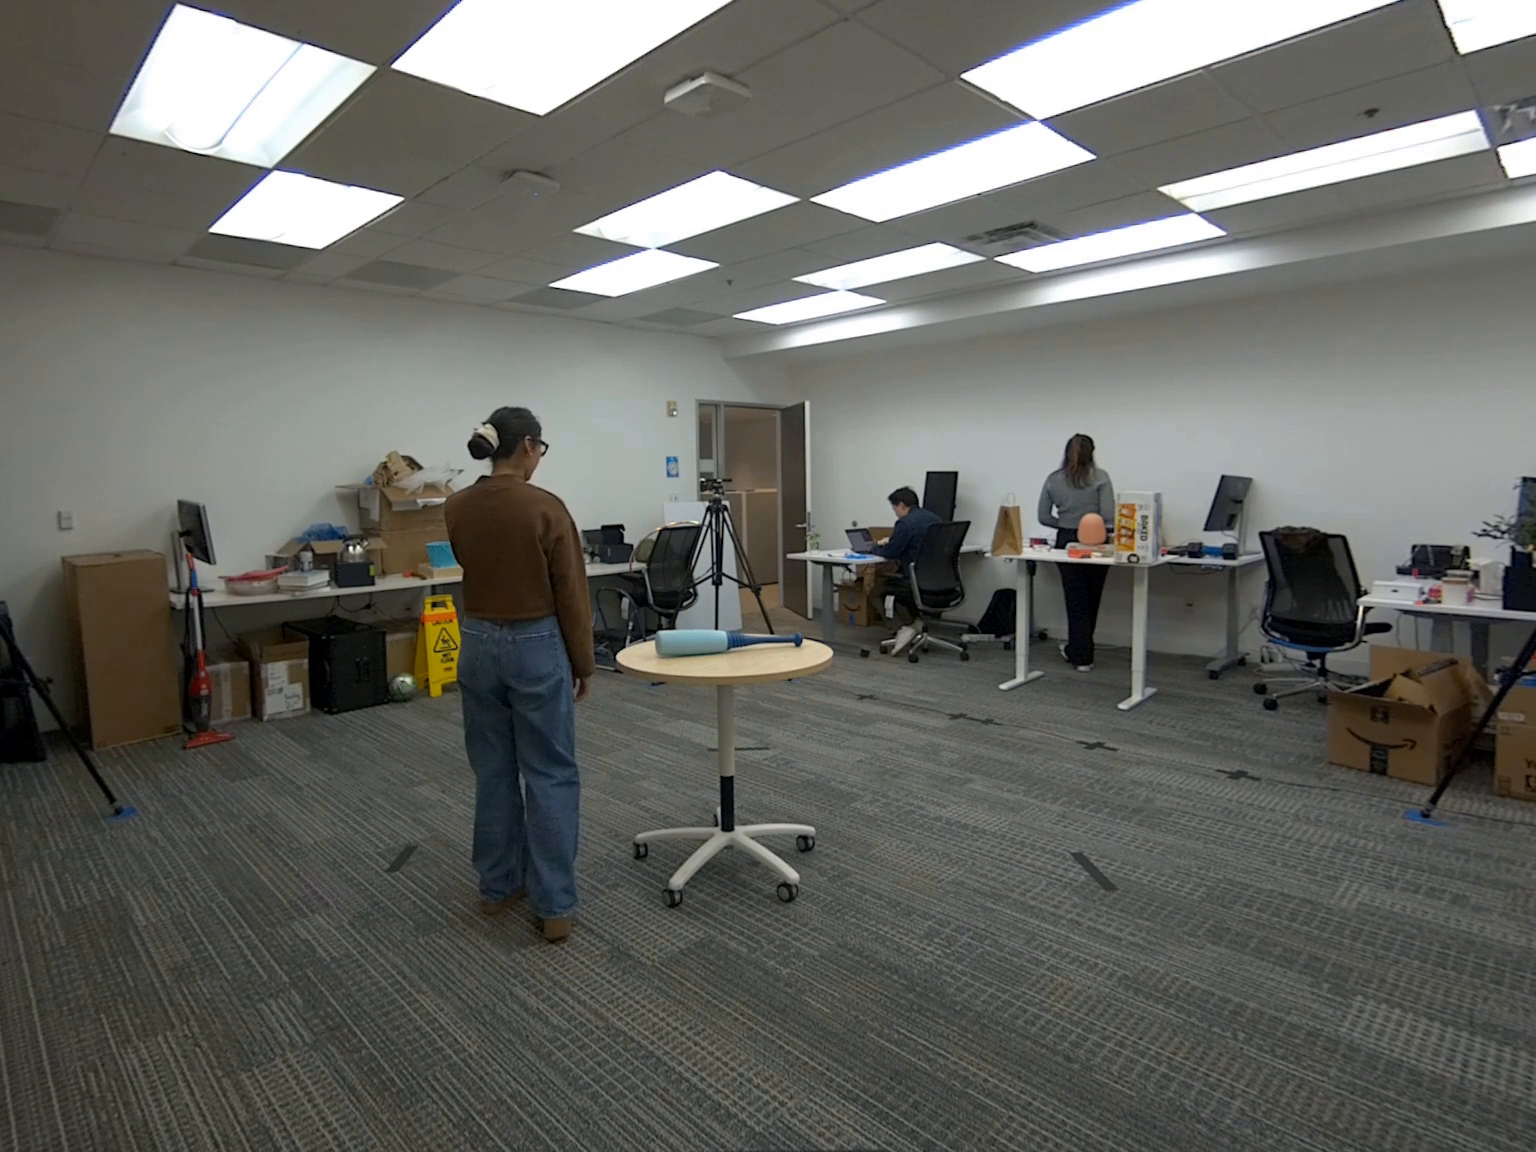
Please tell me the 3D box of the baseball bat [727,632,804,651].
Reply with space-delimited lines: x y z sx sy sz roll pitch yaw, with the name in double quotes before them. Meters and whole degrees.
"baseball bat" -0.137 0.235 3.040 0.534 0.089 0.091 0 4 -17
